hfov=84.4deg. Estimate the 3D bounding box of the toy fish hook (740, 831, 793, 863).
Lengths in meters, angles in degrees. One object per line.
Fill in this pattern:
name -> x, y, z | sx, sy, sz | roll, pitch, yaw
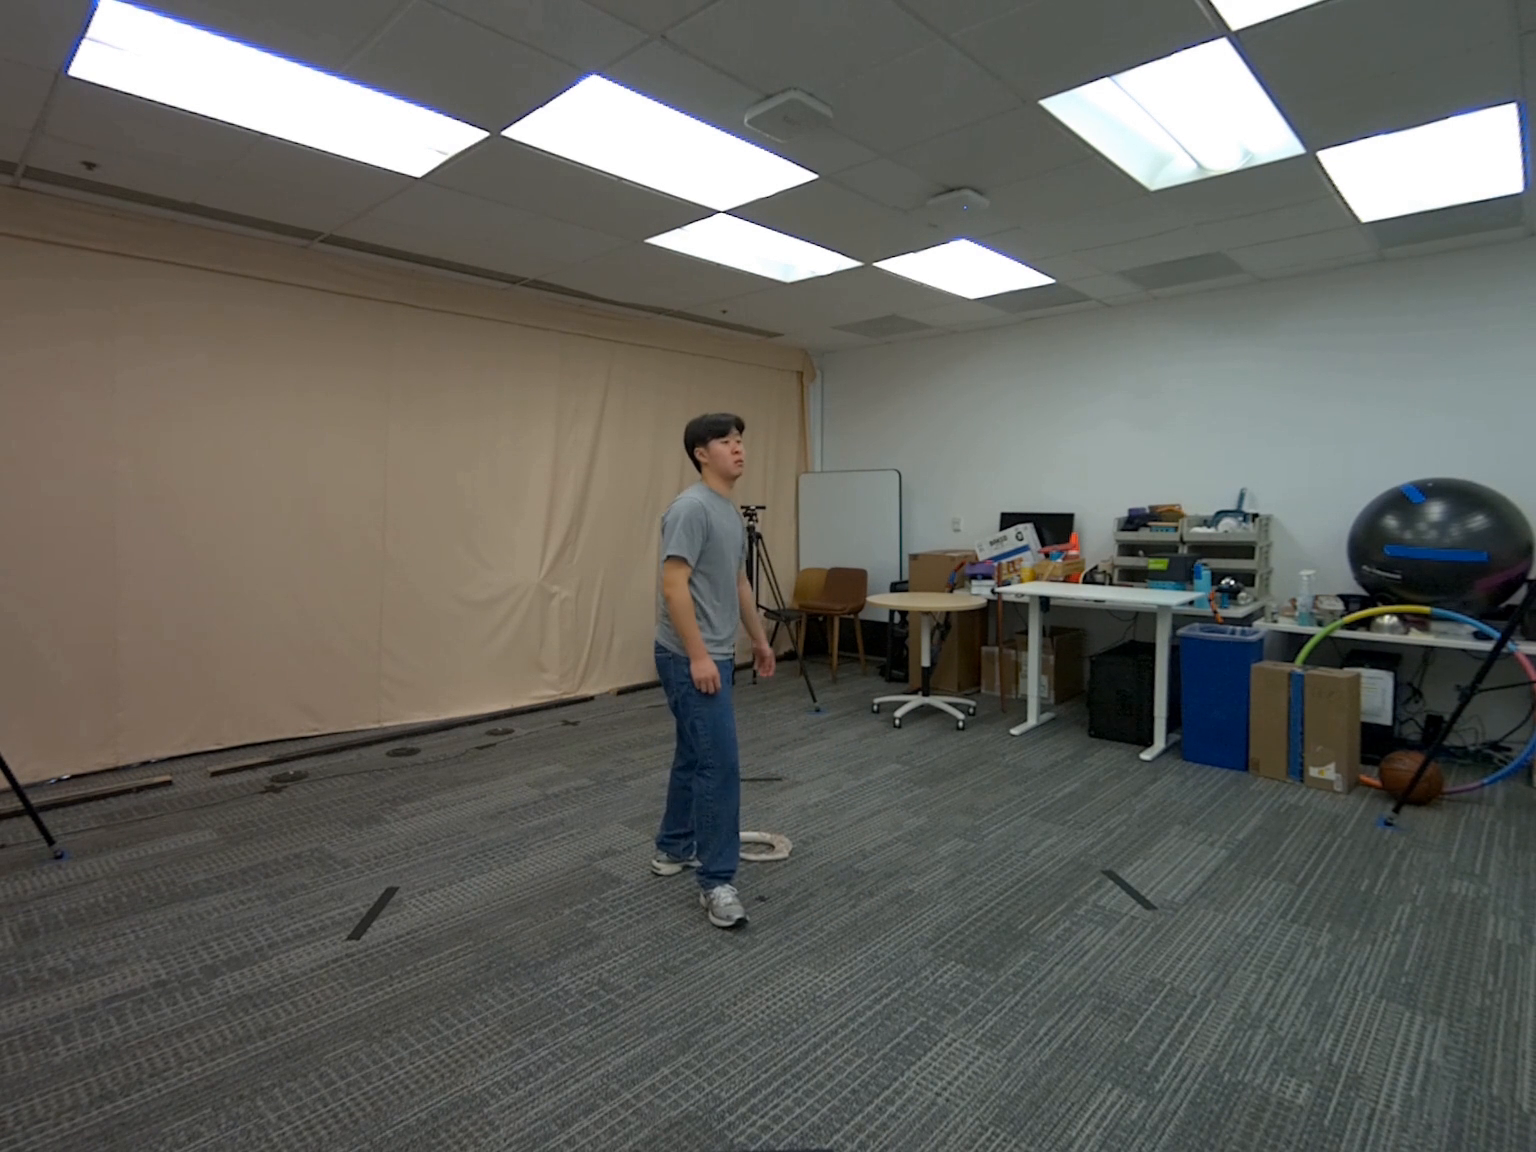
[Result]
toy fish hook -> -0.155, 1.084, 3.424 | 0.515, 0.048, 0.221 | 0, 3, 16
